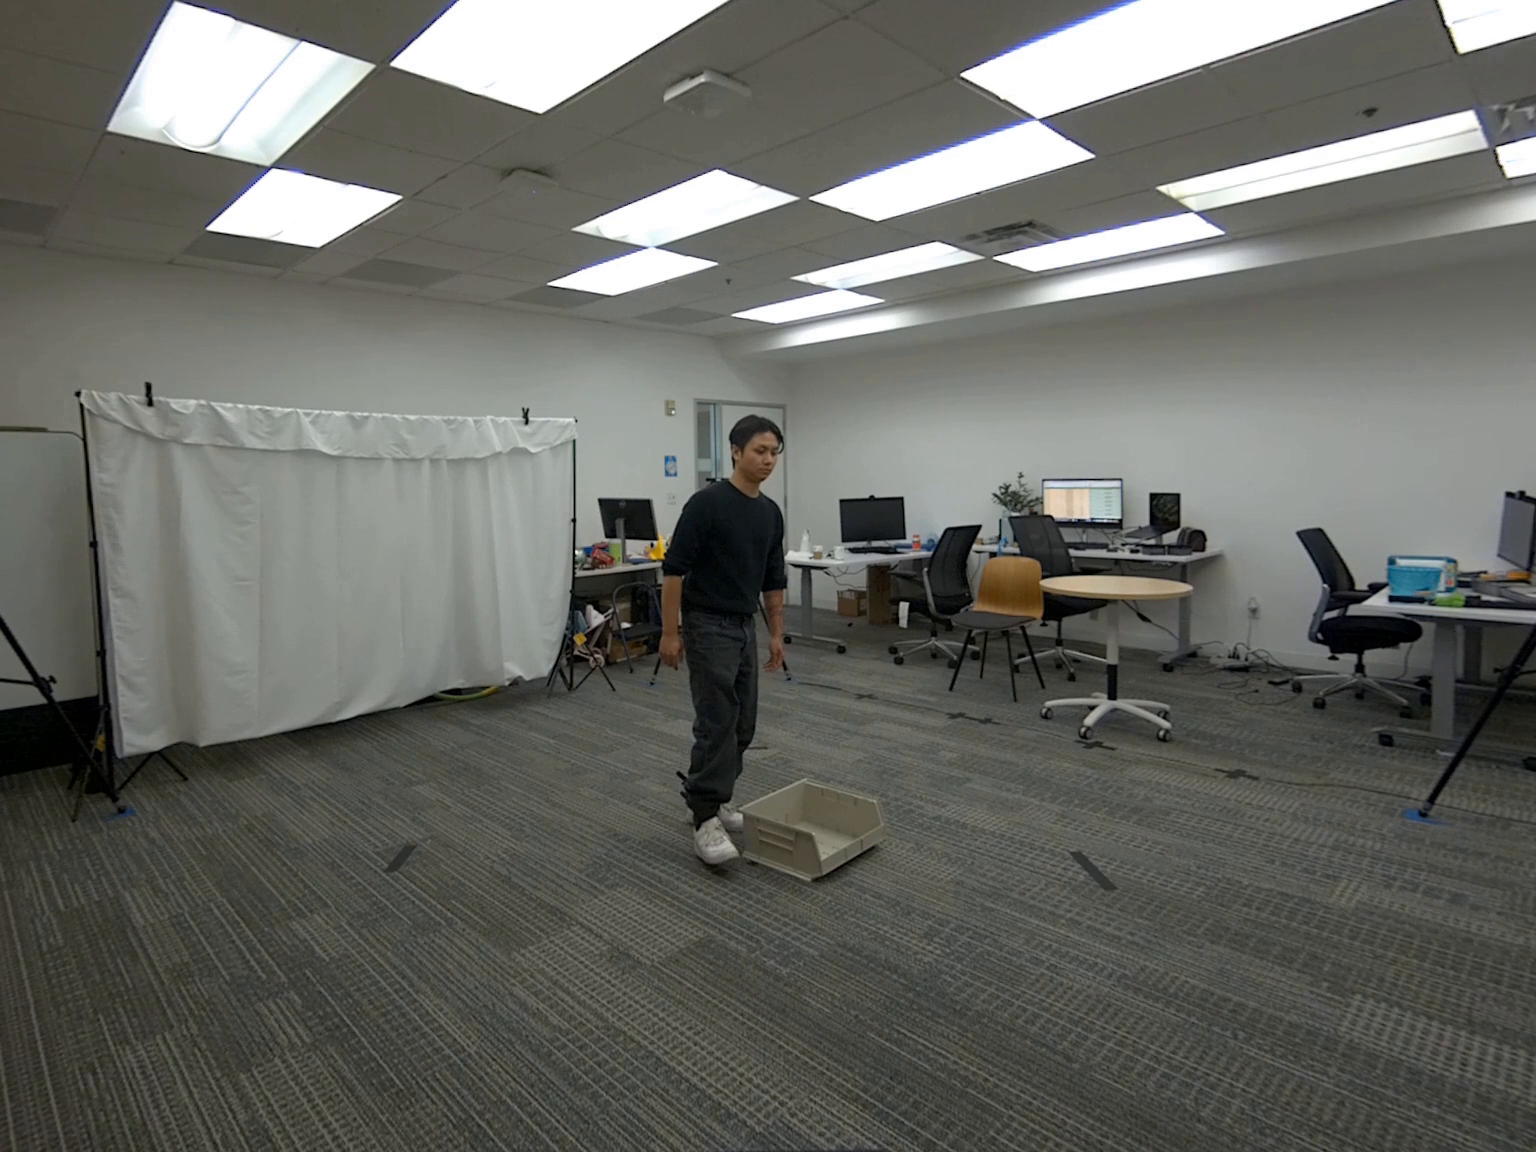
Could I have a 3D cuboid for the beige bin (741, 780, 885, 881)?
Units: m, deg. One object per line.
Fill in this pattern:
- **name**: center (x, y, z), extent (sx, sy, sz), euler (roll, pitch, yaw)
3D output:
- **beige bin**: center (0.173, 0.944, 3.184), extent (0.388, 0.188, 0.412), euler (3, 7, 41)
